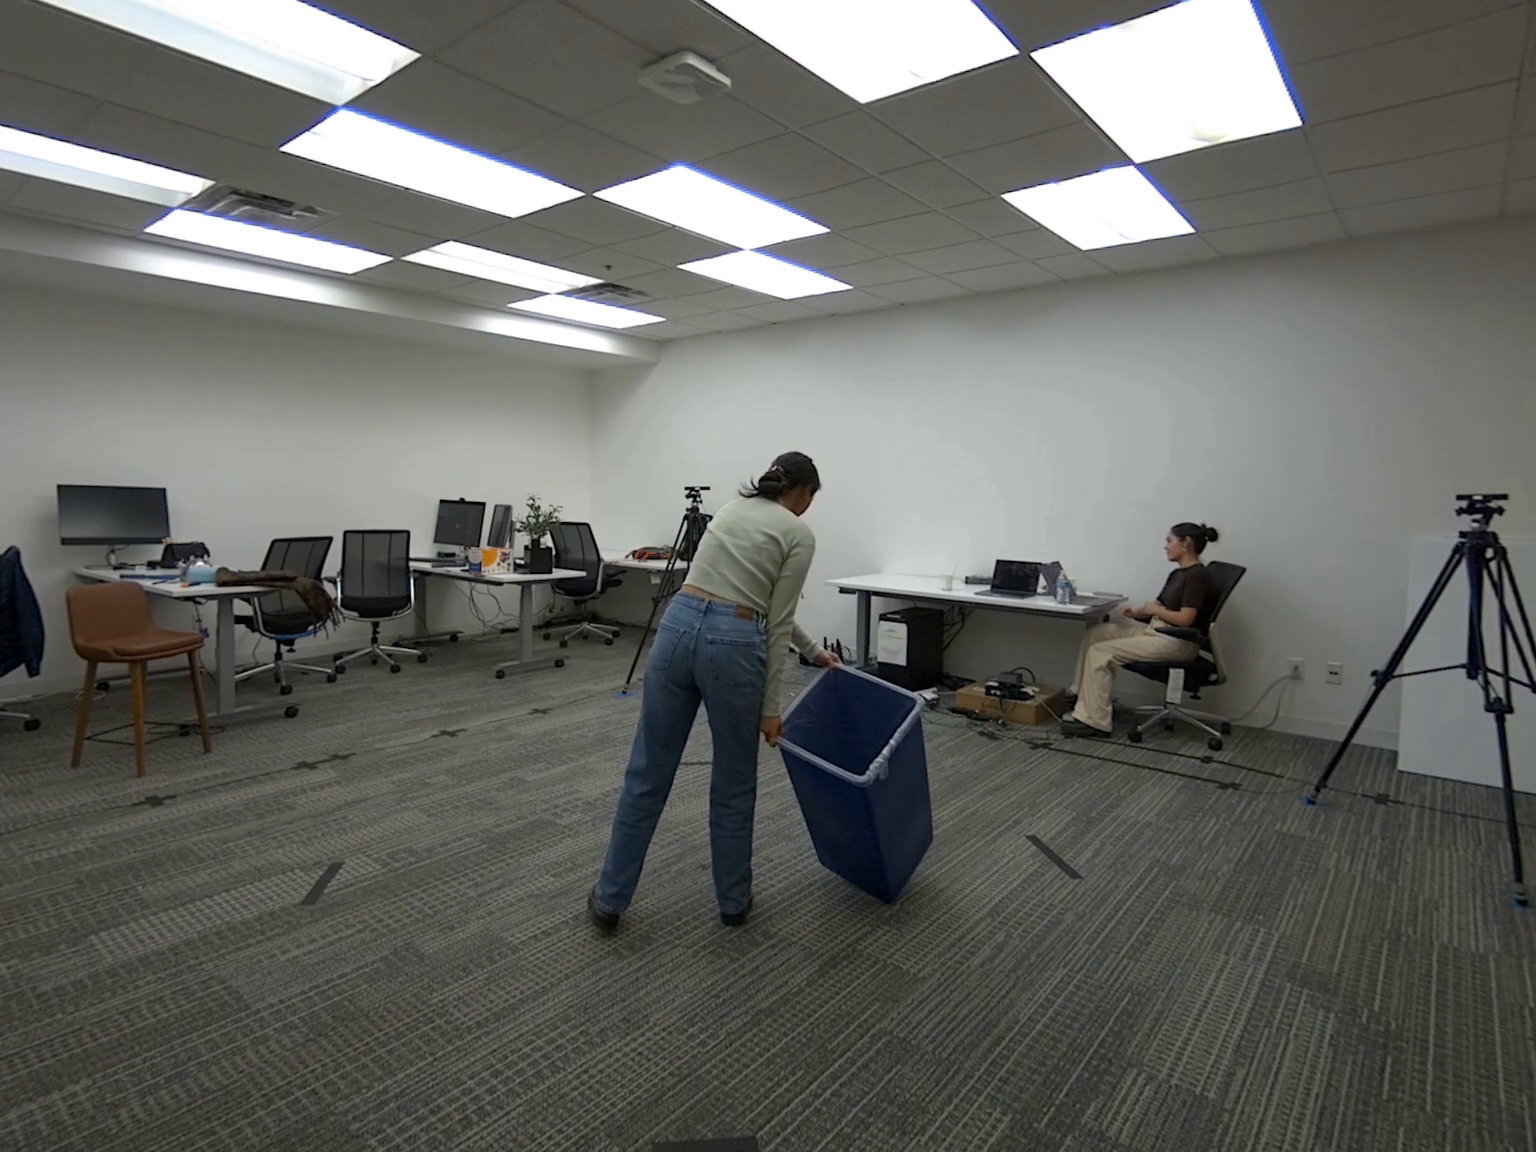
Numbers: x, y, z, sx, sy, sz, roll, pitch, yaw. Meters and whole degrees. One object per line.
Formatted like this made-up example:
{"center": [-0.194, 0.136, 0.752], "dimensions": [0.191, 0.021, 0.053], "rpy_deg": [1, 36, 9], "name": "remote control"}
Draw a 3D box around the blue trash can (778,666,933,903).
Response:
{"center": [0.296, 0.704, 2.845], "dimensions": [0.388, 0.690, 0.377], "rpy_deg": [17, 46, 36], "name": "blue trash can"}
